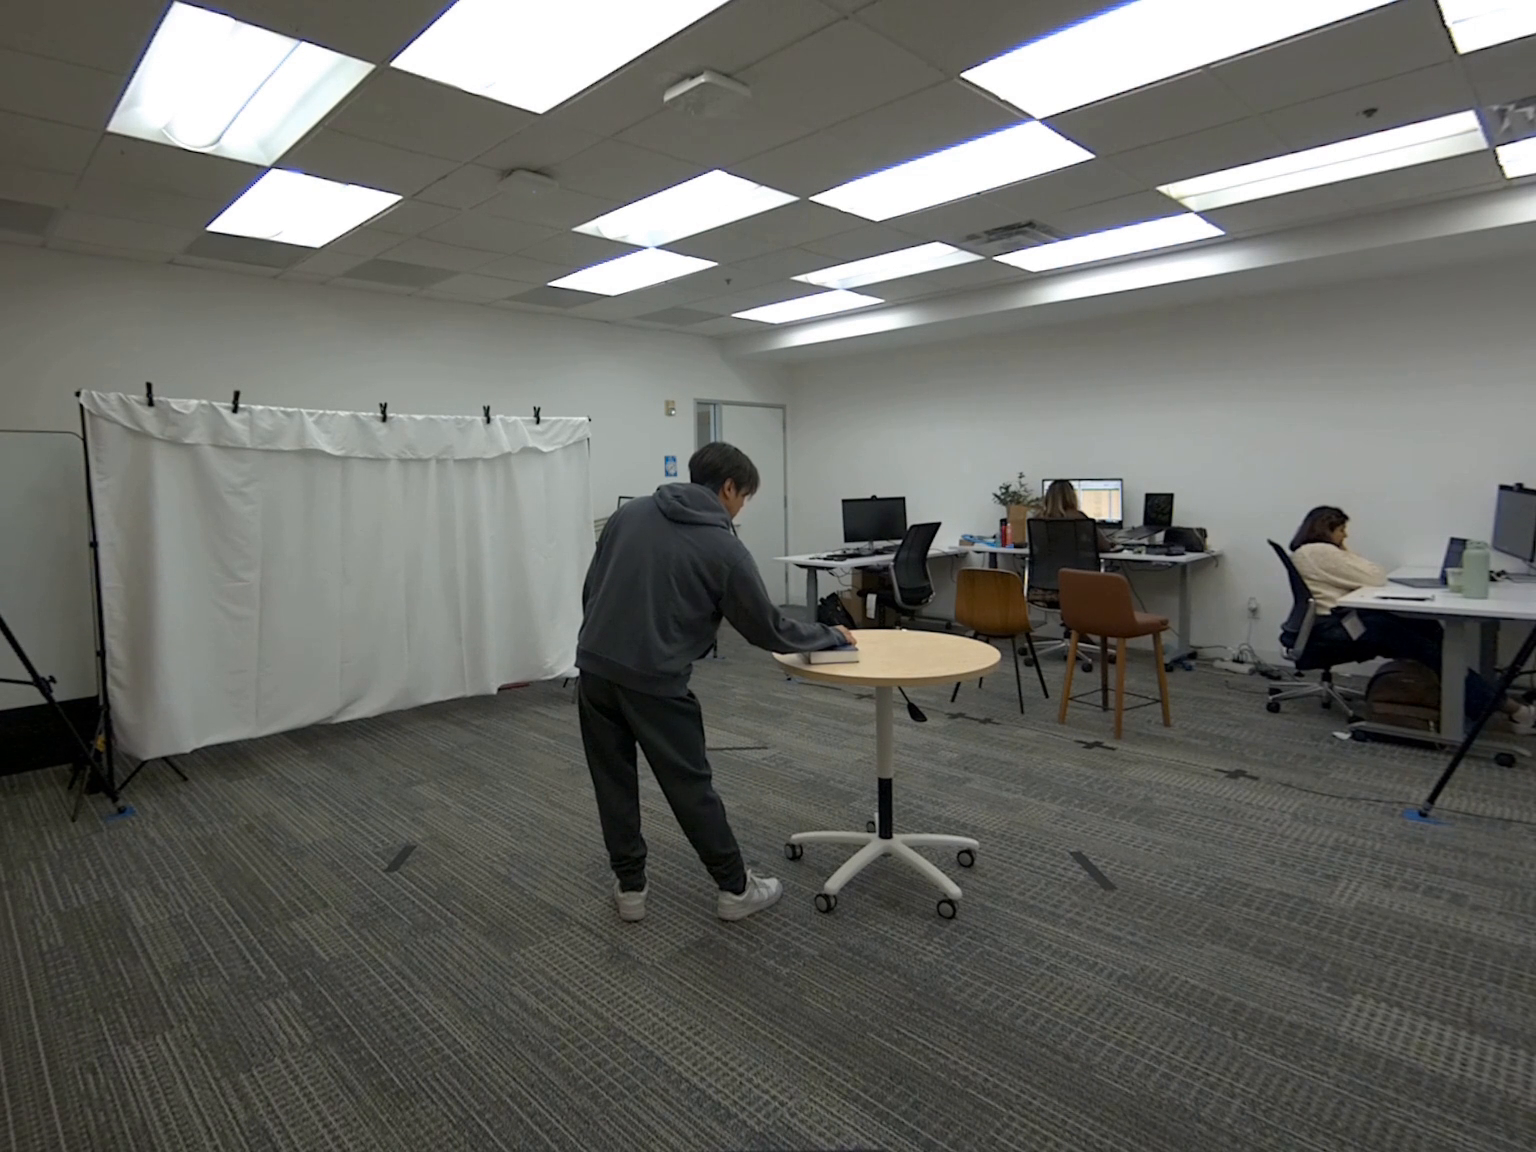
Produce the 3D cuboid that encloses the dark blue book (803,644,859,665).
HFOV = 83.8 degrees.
[{"bbox_3d":[0.200,0.247,2.884,0.162,0.045,0.248,-2,9,-7],"label":"dark blue book"}]
